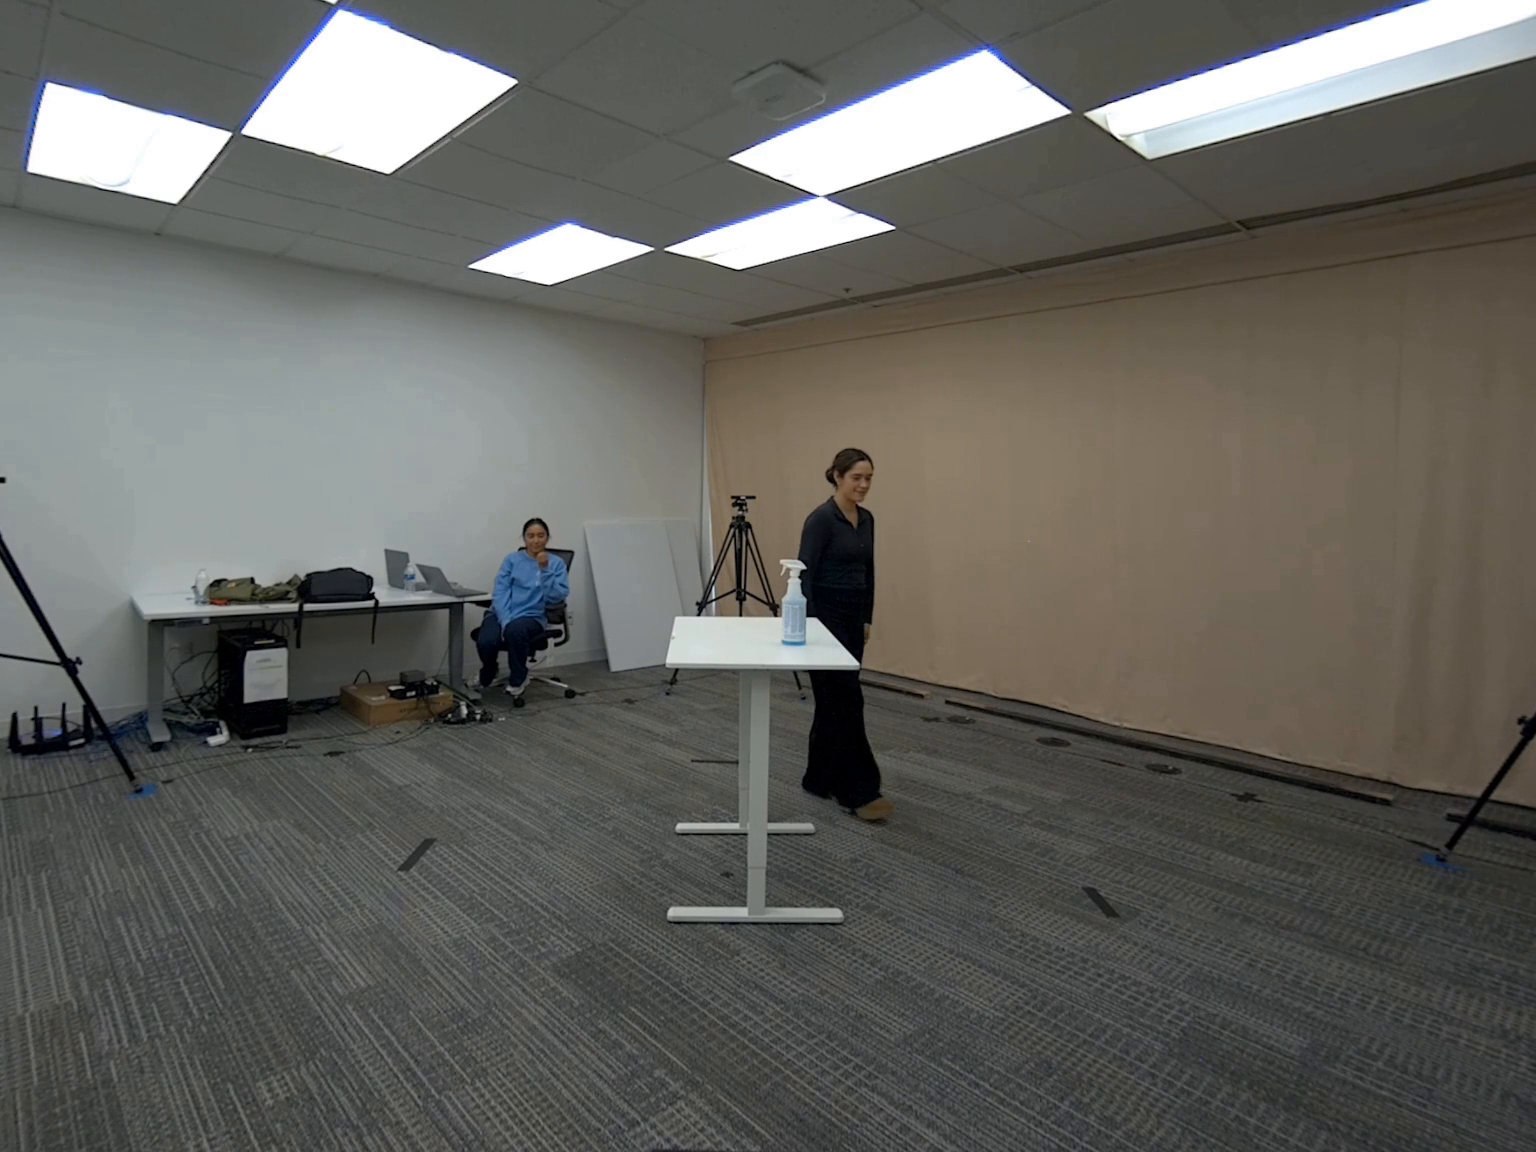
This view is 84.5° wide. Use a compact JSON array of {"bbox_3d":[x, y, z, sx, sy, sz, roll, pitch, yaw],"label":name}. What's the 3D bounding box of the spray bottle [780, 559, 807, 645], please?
[{"bbox_3d":[0.086,0.095,2.950,0.091,0.296,0.086,0,5,20],"label":"spray bottle"}]
